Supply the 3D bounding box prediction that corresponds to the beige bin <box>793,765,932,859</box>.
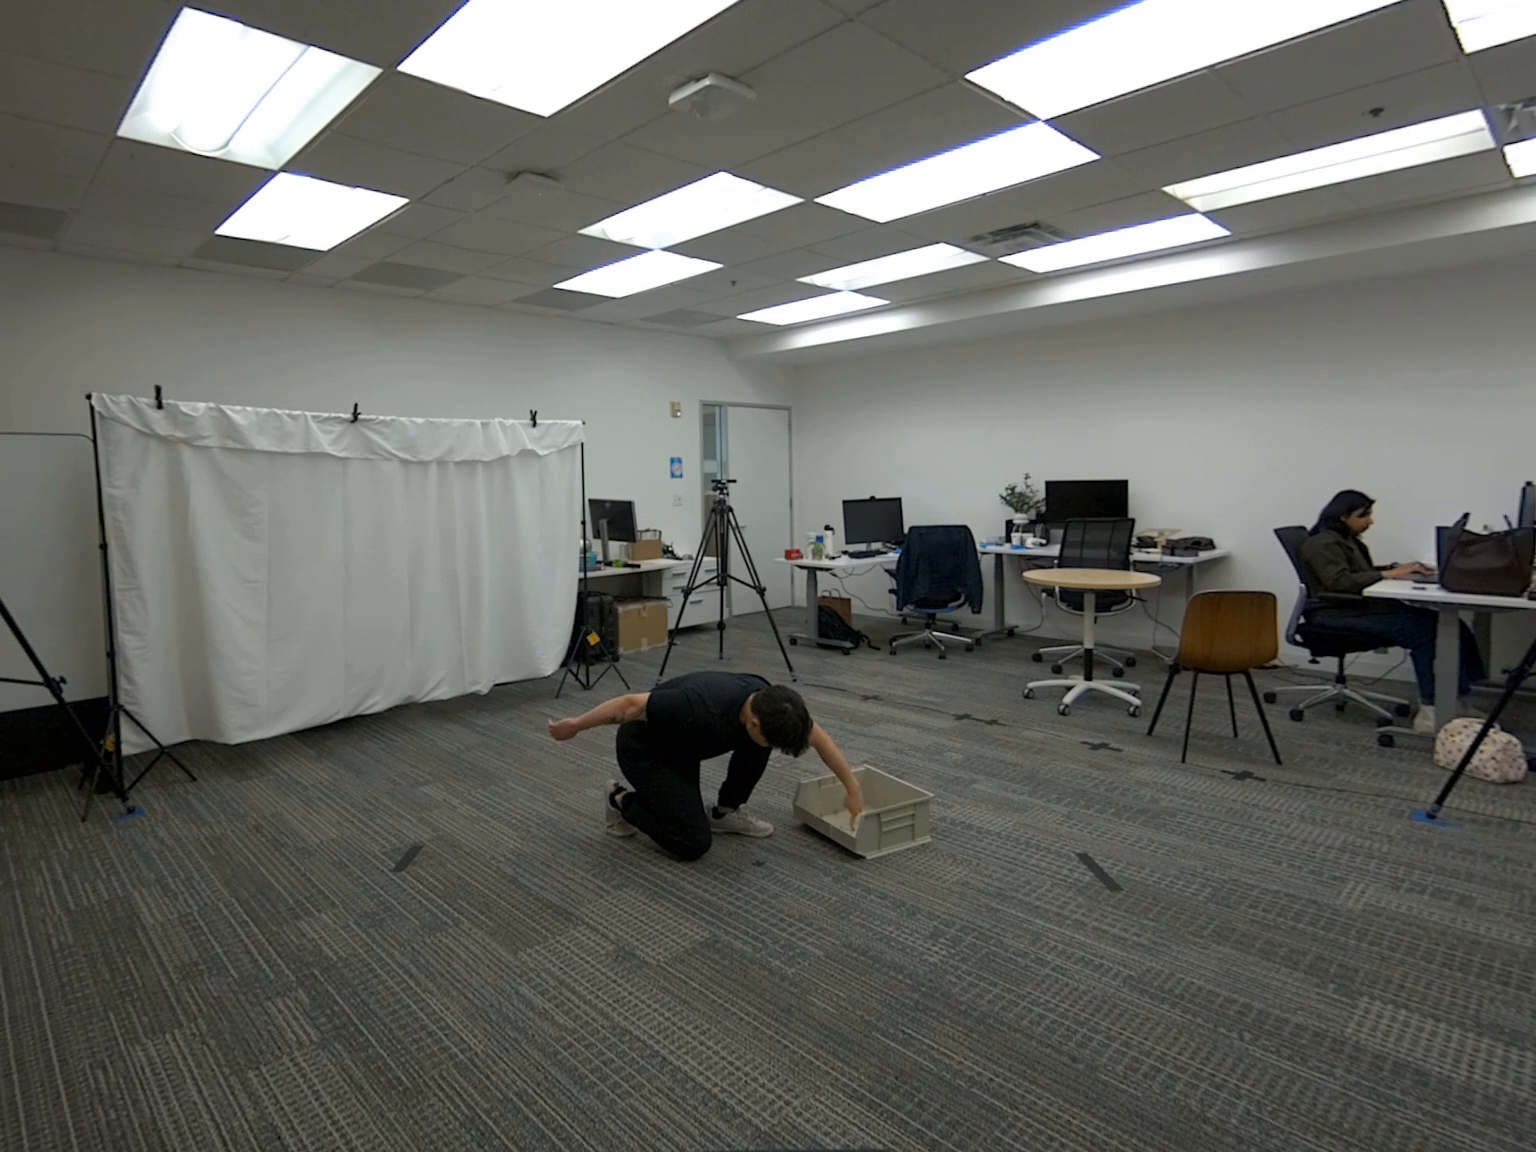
[{"bbox_3d":[0.364,0.916,3.357,0.368,0.188,0.434,-4,6,-31],"label":"beige bin"}]
